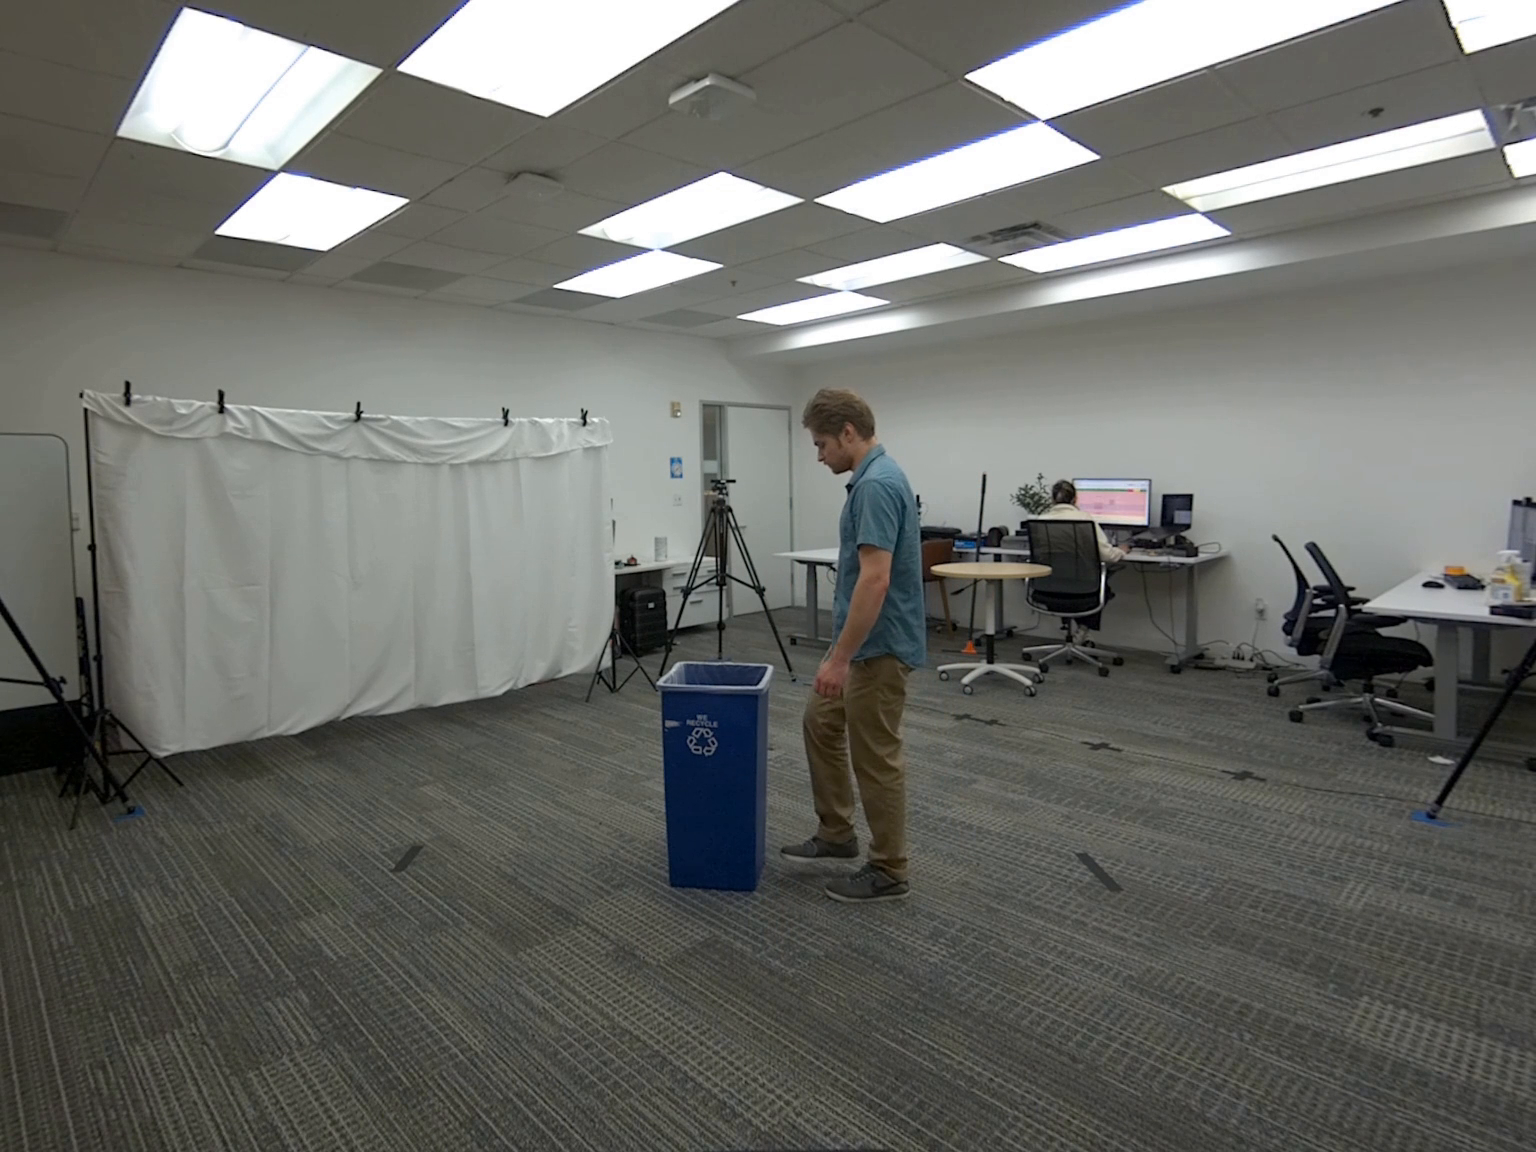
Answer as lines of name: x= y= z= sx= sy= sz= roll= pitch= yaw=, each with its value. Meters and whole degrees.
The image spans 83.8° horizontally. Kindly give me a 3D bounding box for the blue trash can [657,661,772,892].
blue trash can: x=-0.166 y=0.700 z=3.042 sx=0.377 sy=0.711 sz=0.377 roll=0 pitch=4 yaw=7
